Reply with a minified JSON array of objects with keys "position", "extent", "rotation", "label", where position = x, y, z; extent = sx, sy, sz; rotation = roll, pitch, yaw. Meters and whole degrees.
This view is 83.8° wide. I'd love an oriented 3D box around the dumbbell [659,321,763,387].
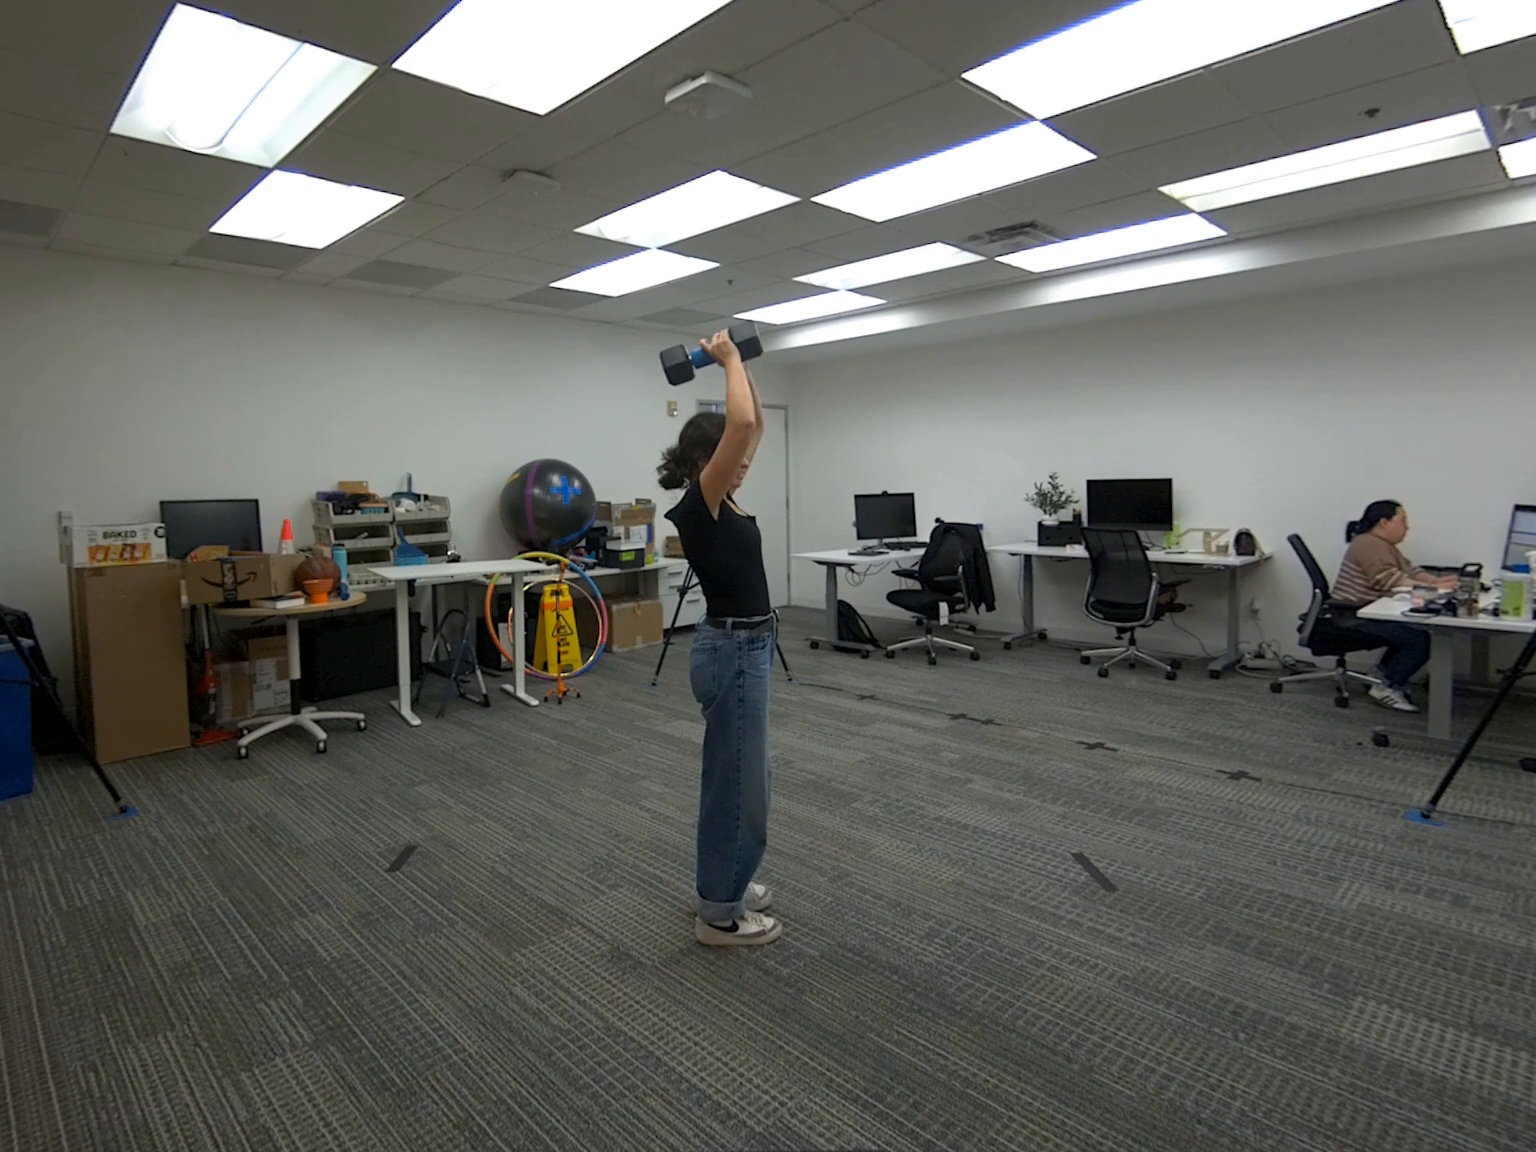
[{"position":[-0.162,-0.650,2.500],"extent":[0.294,0.126,0.105],"rotation":[-19,-24,6],"label":"dumbbell"}]
